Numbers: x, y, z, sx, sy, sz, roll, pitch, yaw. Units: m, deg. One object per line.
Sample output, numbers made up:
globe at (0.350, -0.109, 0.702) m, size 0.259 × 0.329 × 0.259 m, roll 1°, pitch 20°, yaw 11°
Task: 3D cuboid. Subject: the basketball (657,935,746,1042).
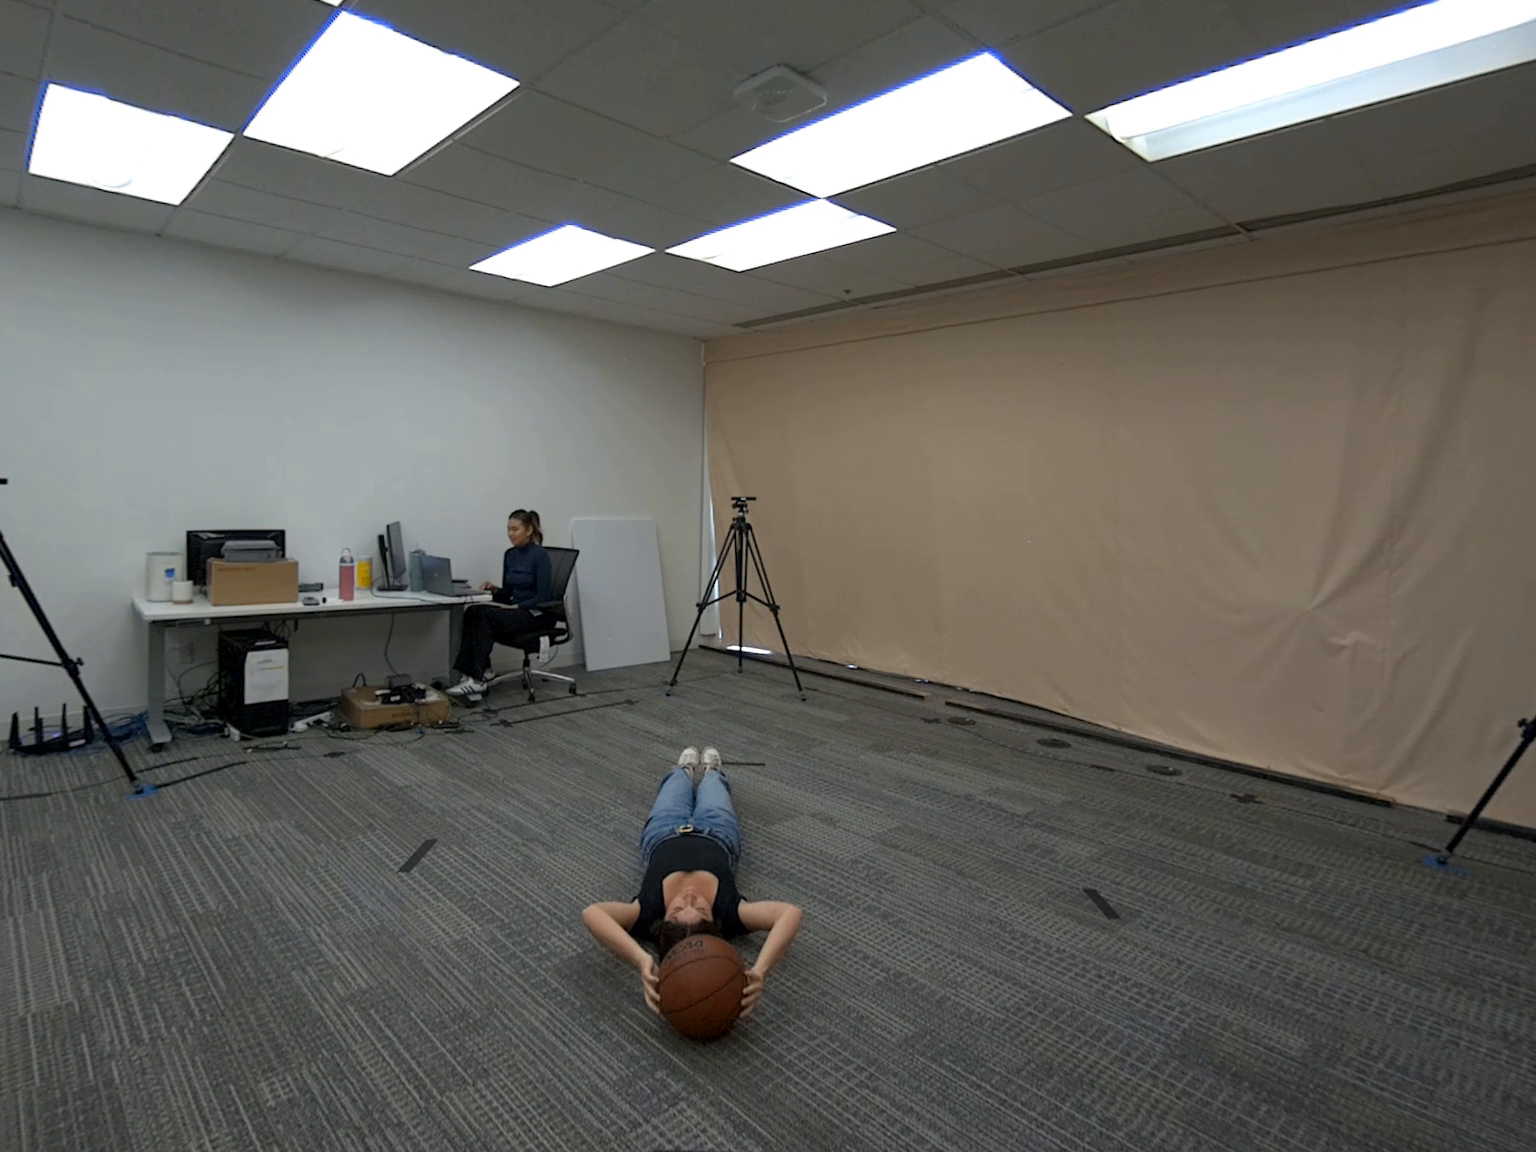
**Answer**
basketball at (-0.178, 1.069, 2.188) m, size 0.236 × 0.235 × 0.237 m, roll 1°, pitch 4°, yaw -1°
